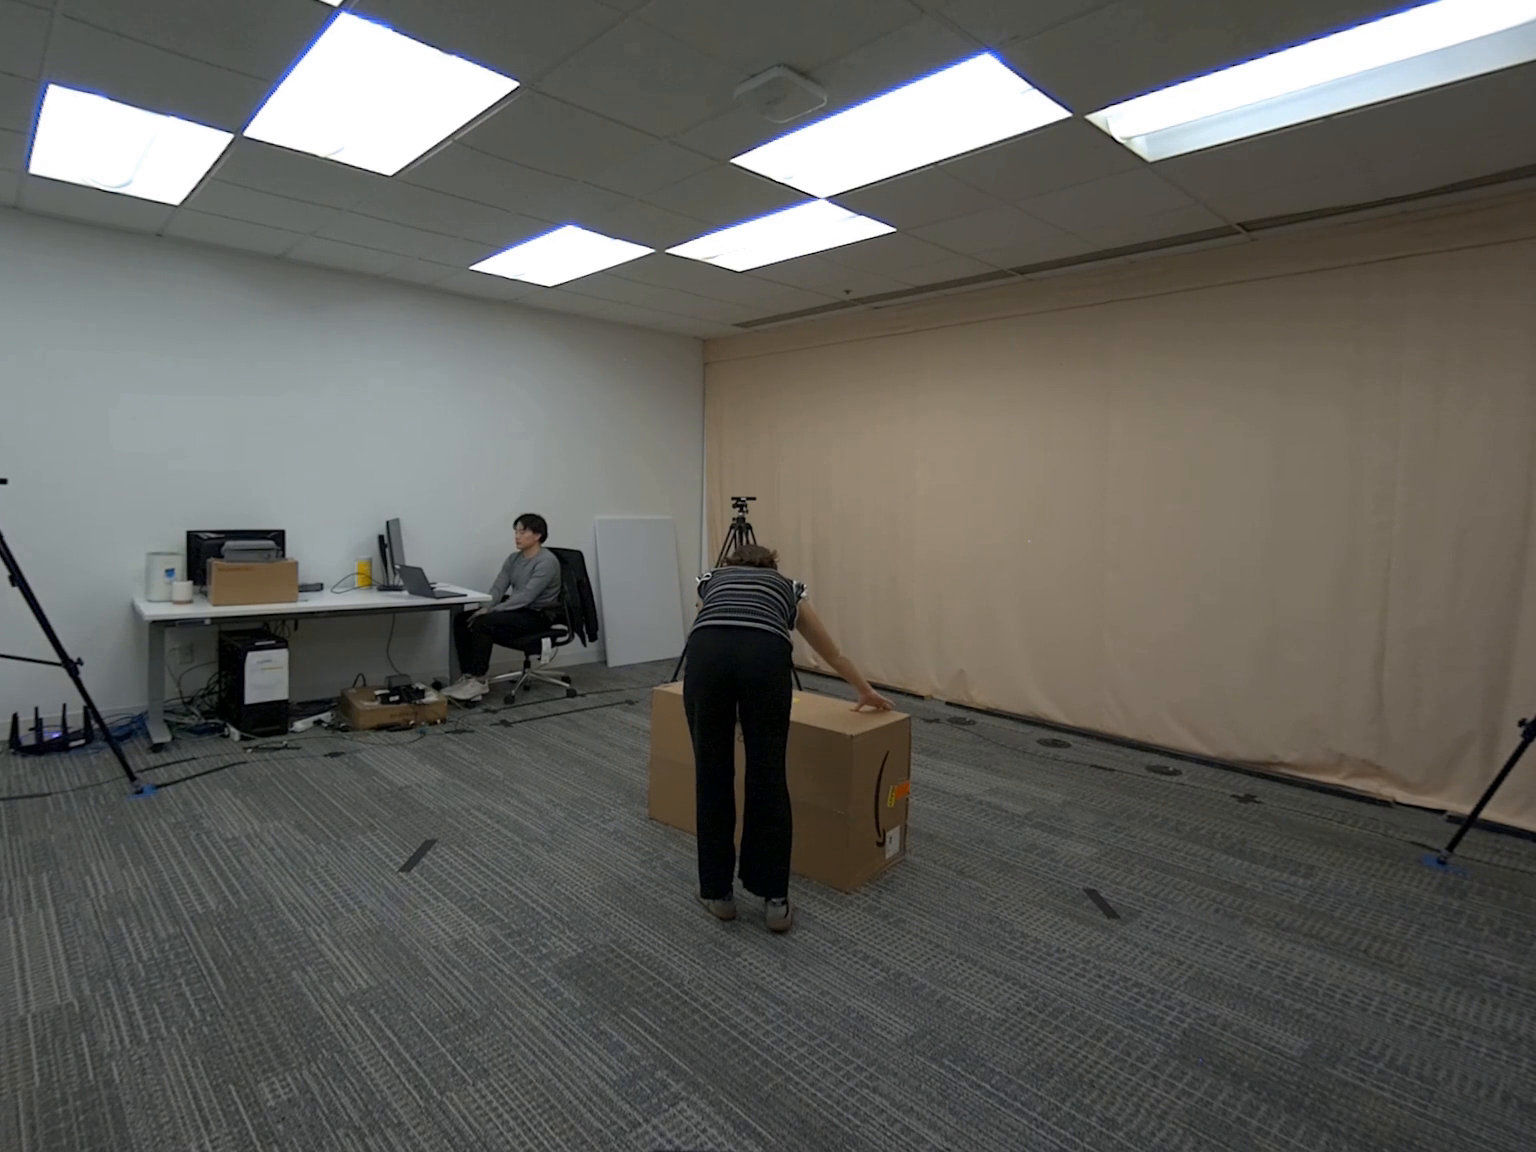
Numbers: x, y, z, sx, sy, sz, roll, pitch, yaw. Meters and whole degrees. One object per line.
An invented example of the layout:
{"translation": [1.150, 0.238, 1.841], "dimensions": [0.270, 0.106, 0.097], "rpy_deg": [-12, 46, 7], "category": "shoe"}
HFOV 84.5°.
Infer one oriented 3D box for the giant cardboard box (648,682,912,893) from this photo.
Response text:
{"translation": [0.015, 0.789, 3.460], "dimensions": [1.052, 0.576, 0.416], "rpy_deg": [5, 5, 40], "category": "giant cardboard box"}
